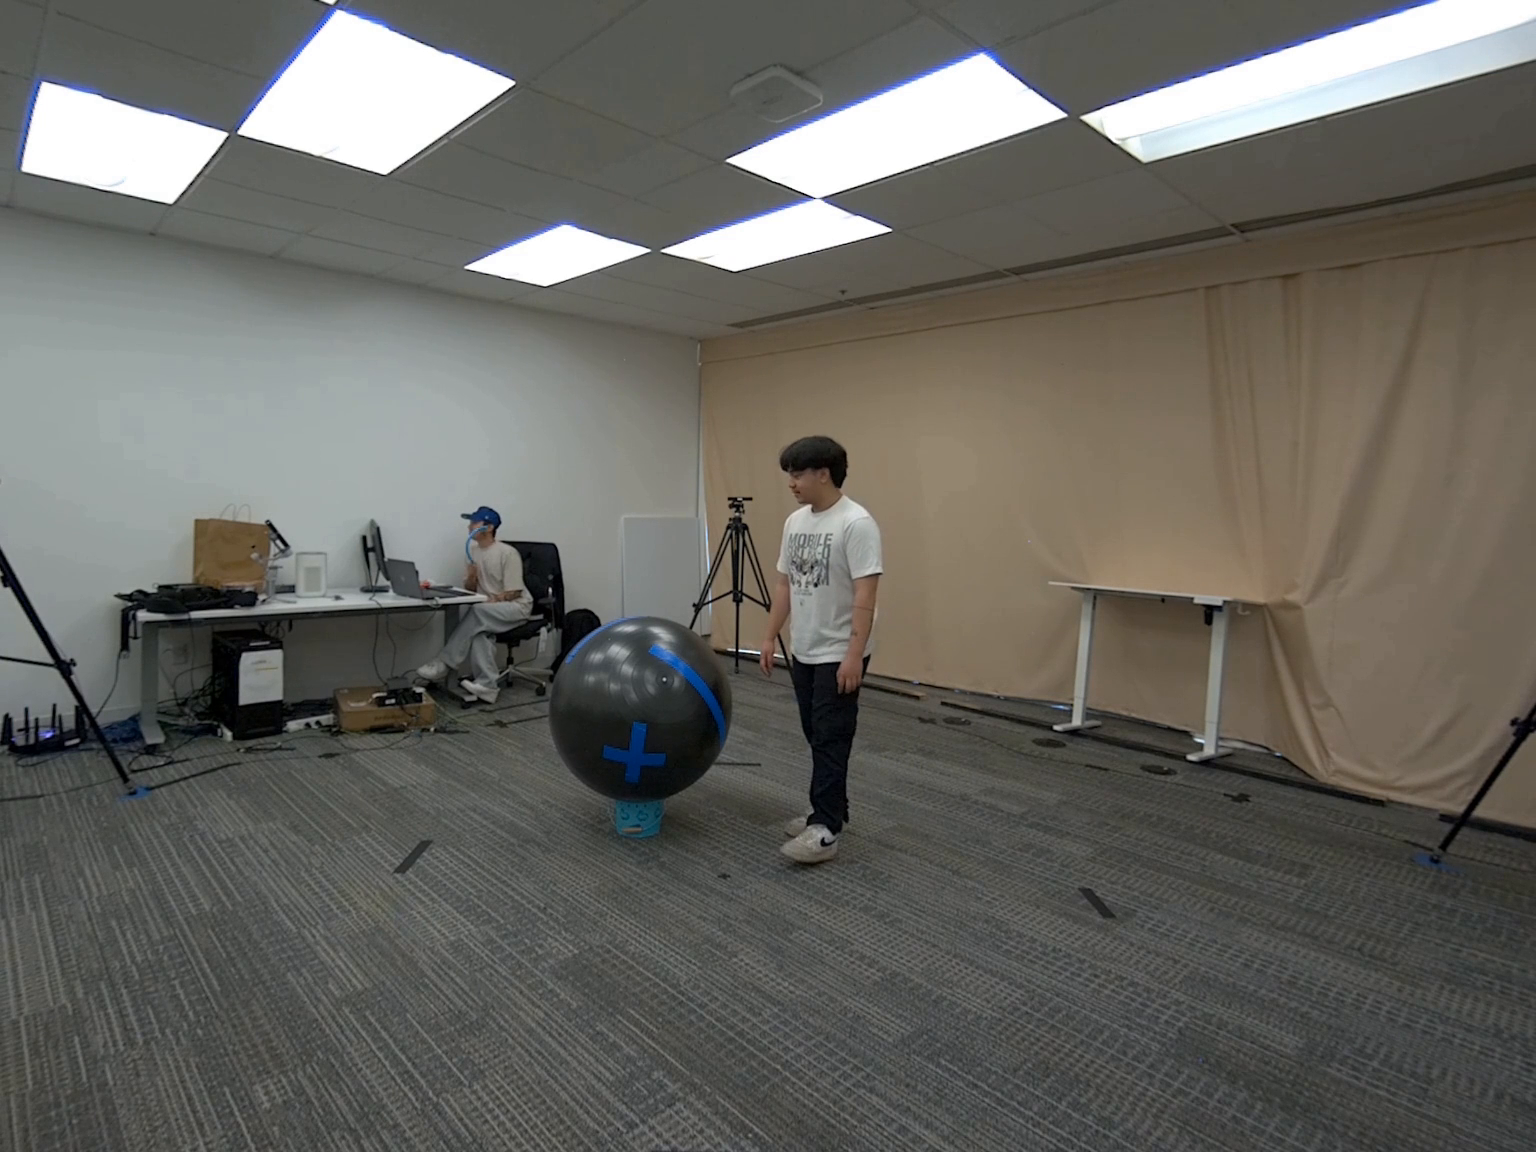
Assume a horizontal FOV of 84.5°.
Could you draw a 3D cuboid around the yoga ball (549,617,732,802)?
[{"bbox_3d":[-0.535,0.553,3.509,0.757,0.756,0.760,1,4,-1],"label":"yoga ball"}]
